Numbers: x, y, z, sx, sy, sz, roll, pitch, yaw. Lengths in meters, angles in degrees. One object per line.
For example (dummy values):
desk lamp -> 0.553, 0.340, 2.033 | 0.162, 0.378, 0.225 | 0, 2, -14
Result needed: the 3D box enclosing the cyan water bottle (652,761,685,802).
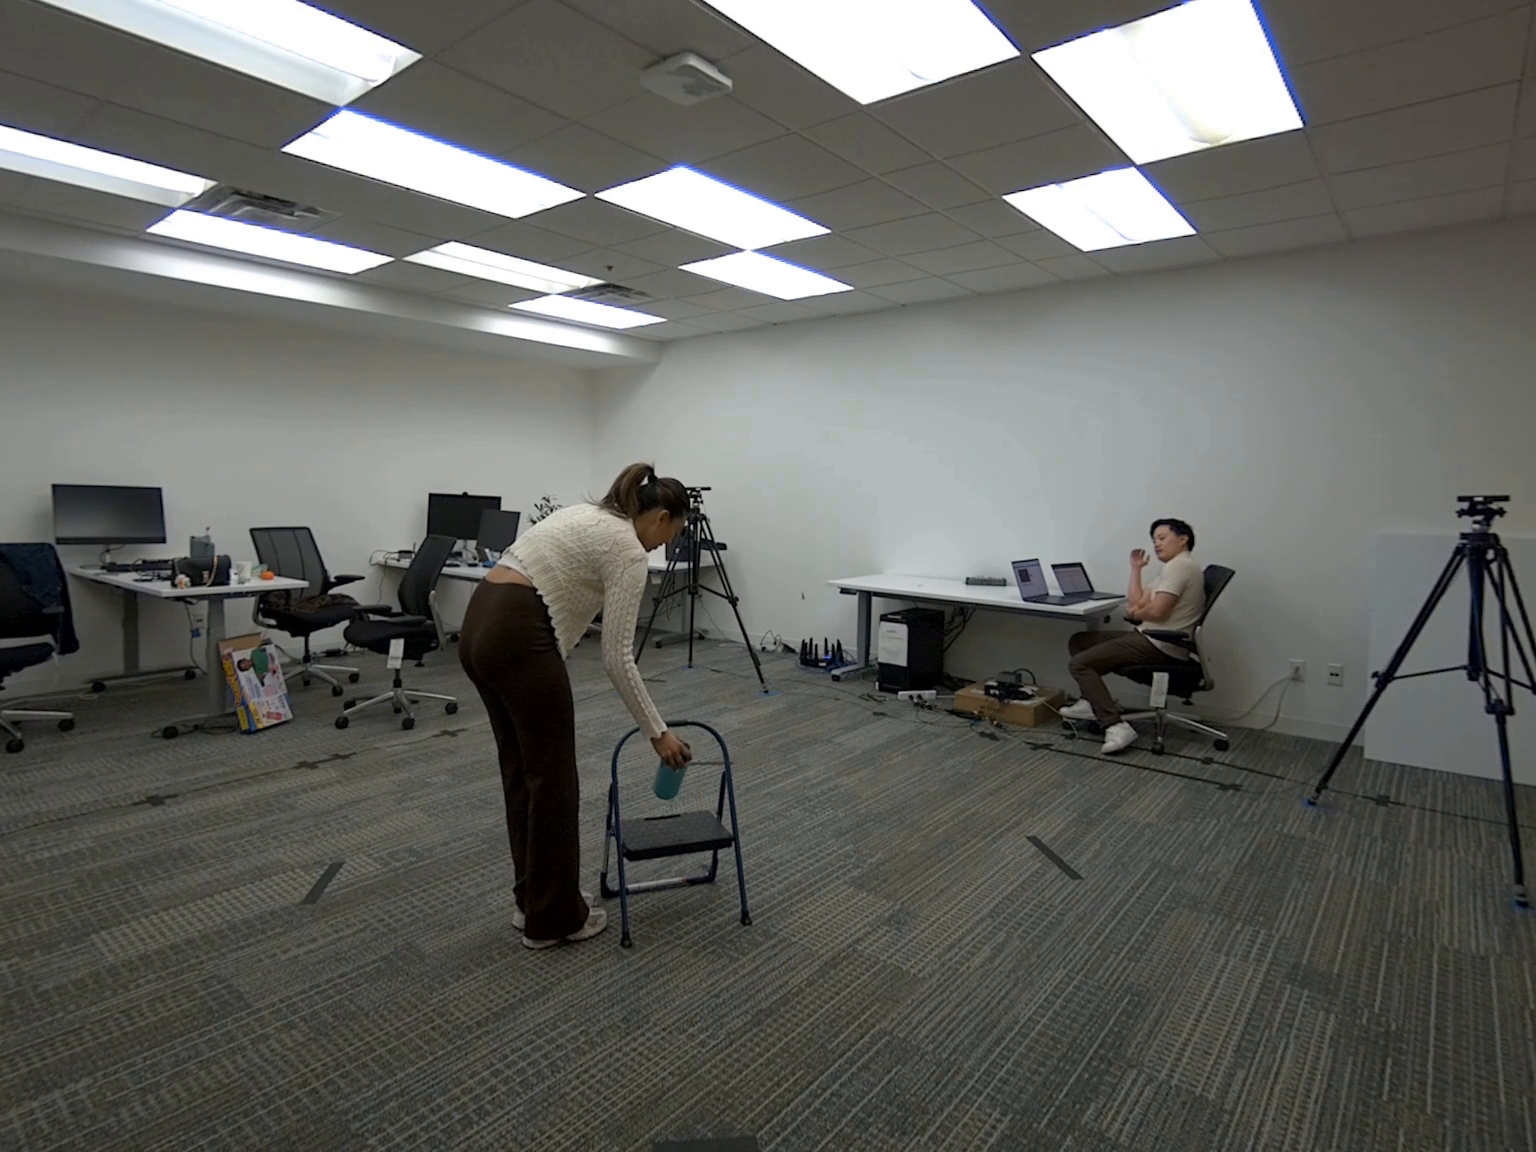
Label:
cyan water bottle -> -0.320, 0.617, 2.690 | 0.091, 0.095, 0.279 | 10, -44, -12
